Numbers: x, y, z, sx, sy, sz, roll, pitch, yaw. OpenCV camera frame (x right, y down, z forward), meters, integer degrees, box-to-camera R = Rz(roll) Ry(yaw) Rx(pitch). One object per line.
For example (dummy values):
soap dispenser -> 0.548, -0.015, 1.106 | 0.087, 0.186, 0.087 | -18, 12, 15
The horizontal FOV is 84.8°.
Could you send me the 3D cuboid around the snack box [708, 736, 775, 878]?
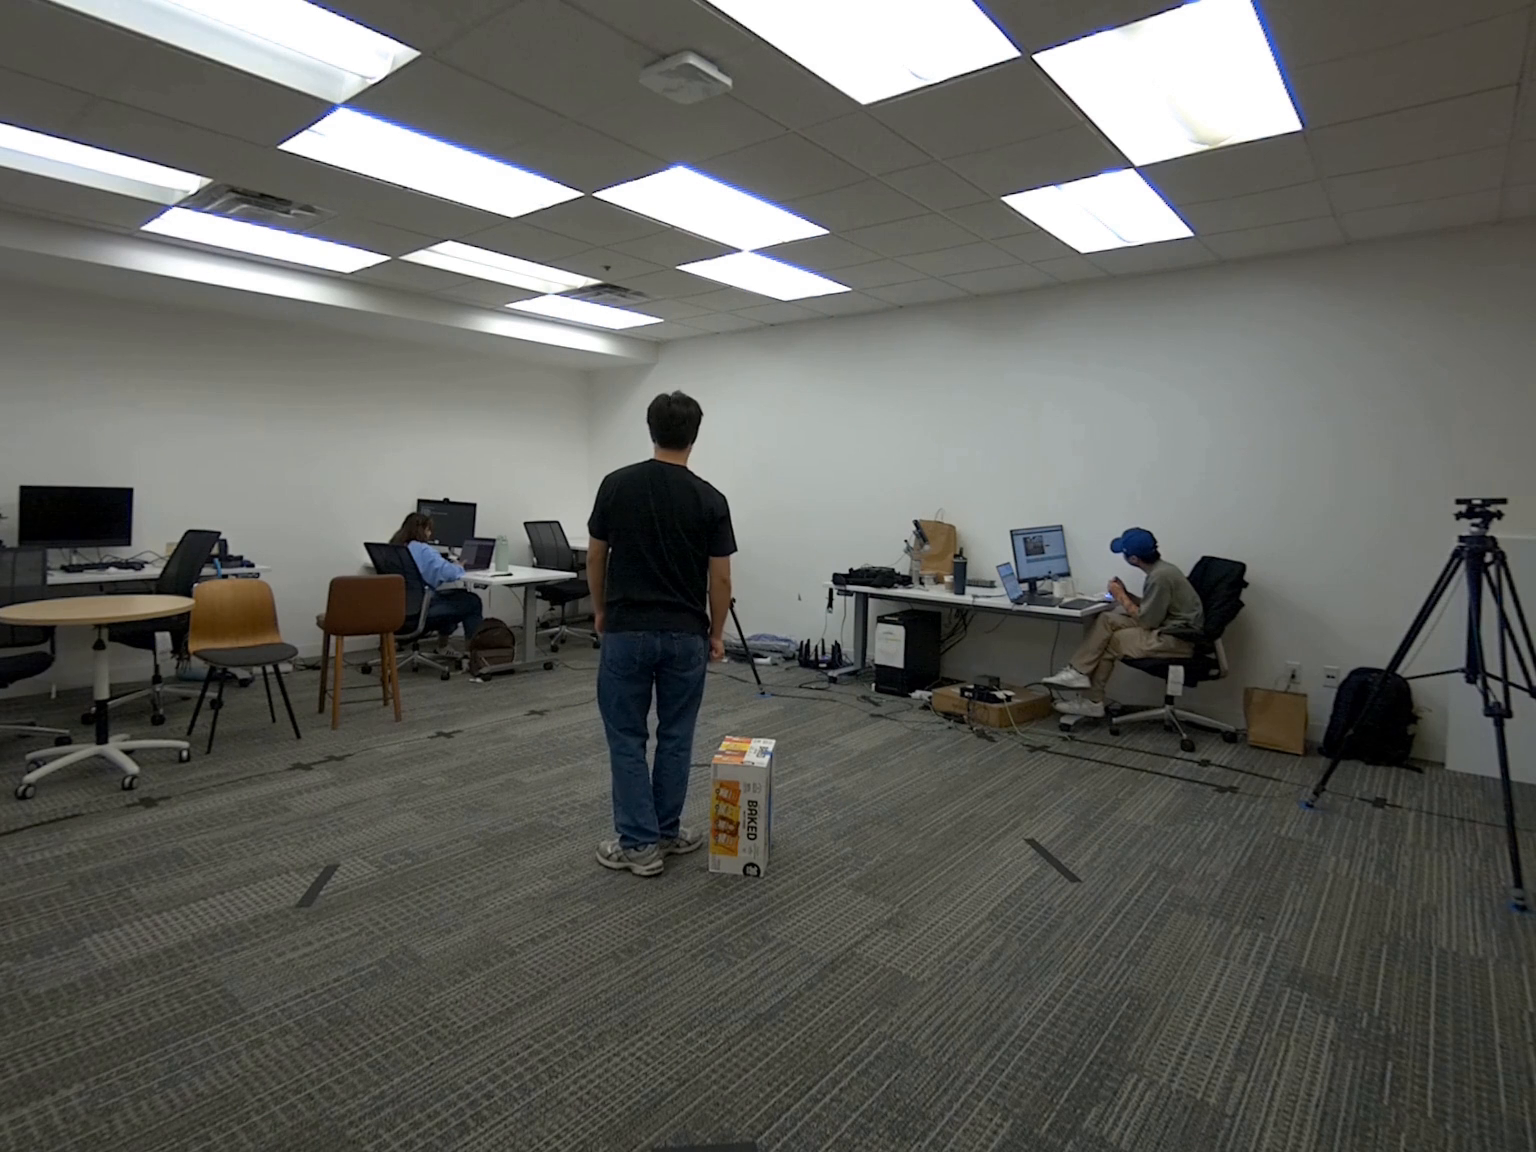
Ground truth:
snack box -> -0.106, 0.857, 3.221 | 0.208, 0.404, 0.338 | 3, 5, 7
